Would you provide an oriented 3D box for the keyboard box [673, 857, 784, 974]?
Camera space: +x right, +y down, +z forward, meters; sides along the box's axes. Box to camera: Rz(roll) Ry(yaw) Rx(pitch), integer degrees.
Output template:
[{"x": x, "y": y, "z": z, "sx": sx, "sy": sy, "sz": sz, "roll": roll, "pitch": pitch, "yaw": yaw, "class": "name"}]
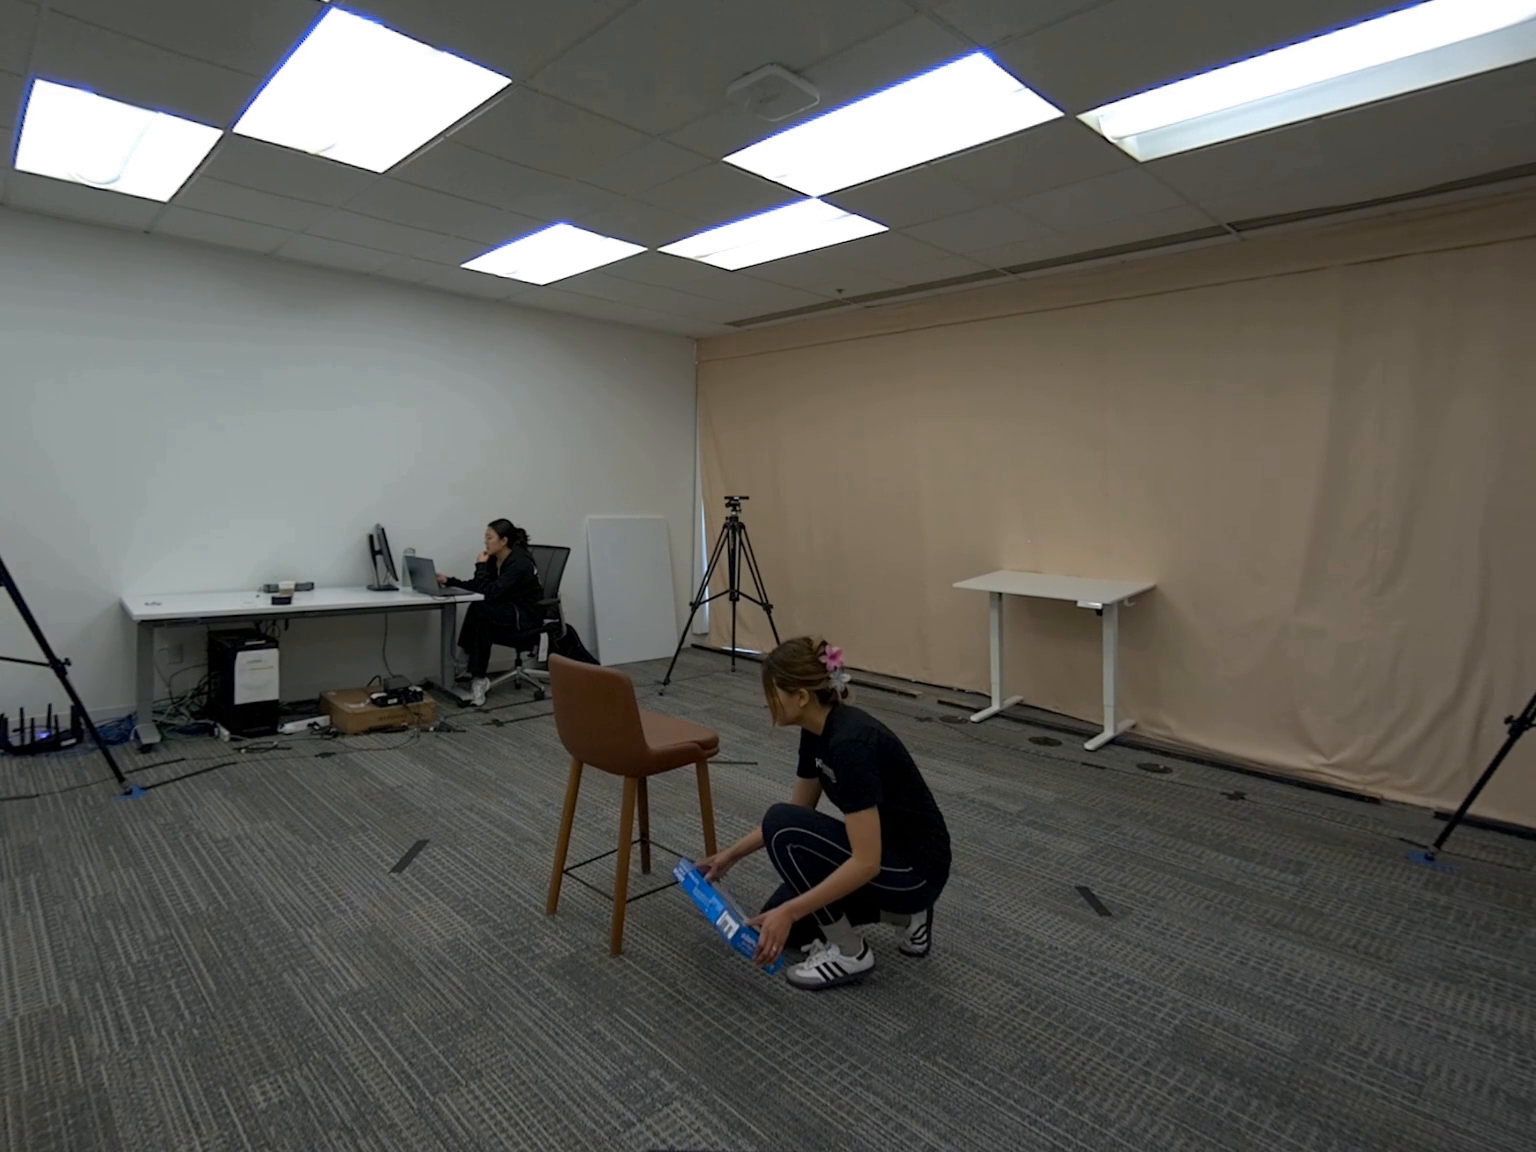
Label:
[{"x": -0.123, "y": 0.967, "z": 2.396, "sx": 0.172, "sy": 0.059, "sz": 0.445, "roll": 45, "pitch": -14, "yaw": -21, "class": "keyboard box"}]
